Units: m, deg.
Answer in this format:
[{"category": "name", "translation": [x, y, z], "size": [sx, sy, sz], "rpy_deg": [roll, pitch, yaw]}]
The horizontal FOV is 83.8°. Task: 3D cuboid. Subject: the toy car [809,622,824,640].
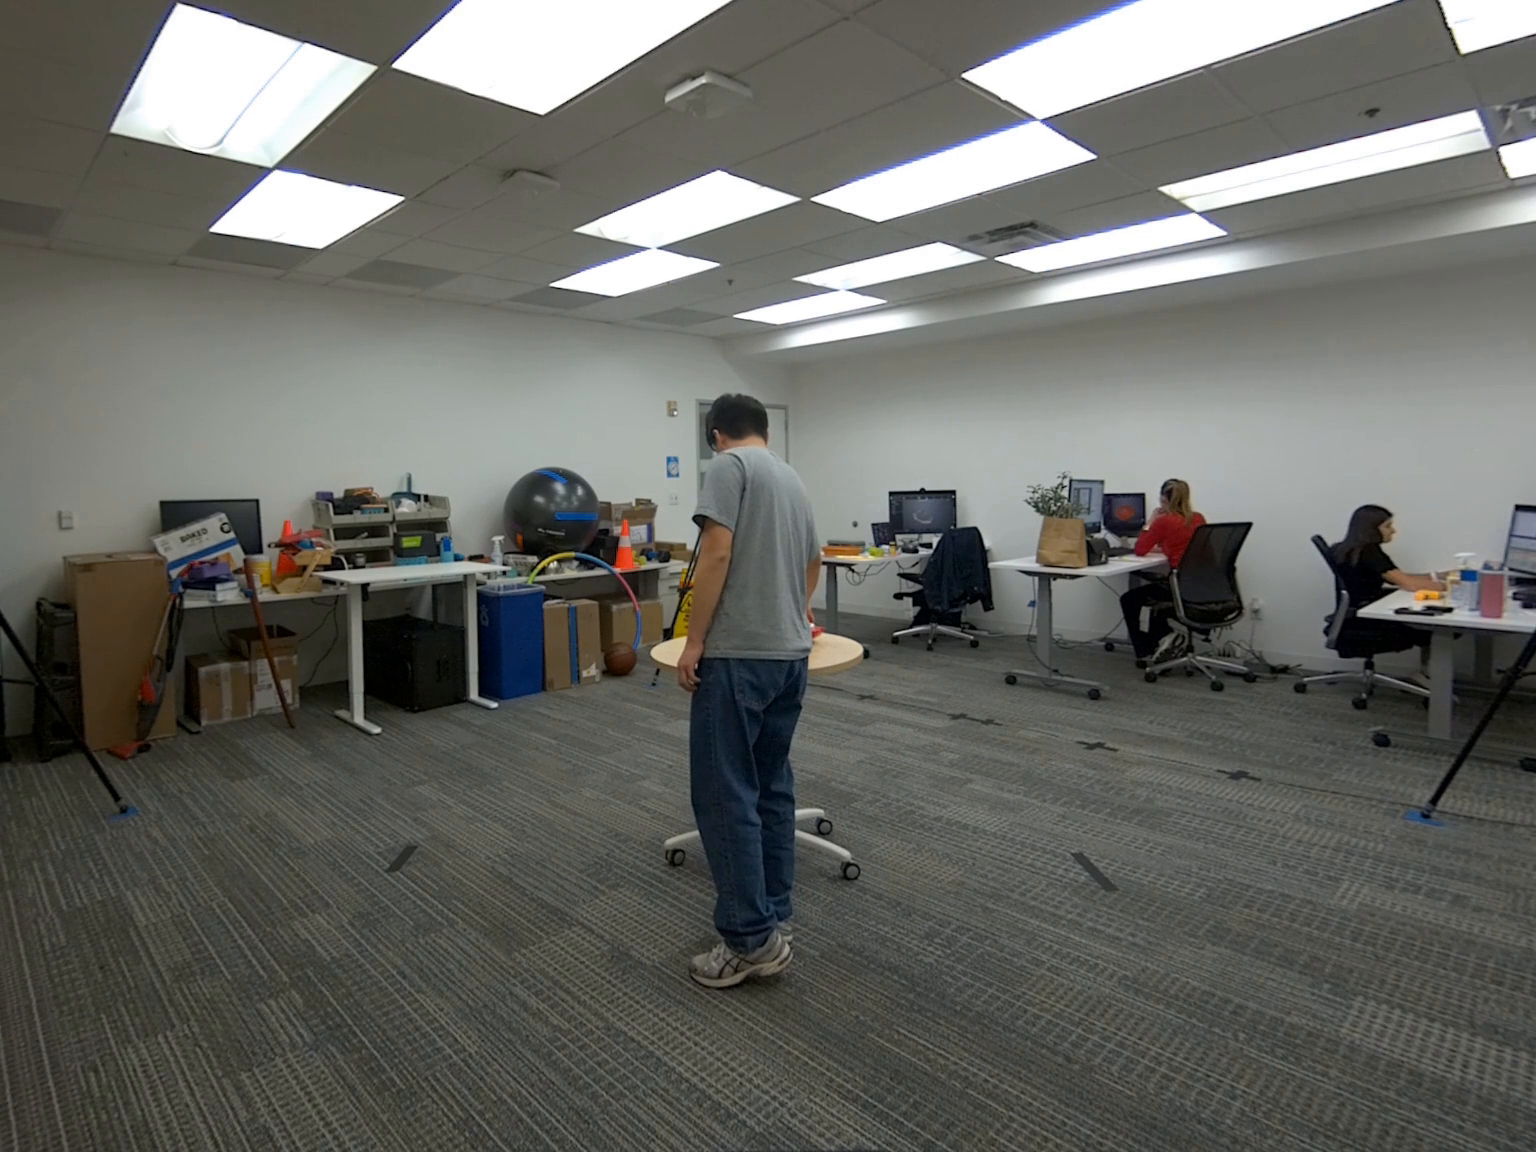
[{"category": "toy car", "translation": [0.098, 0.216, 3.201], "size": [0.259, 0.083, 0.127], "rpy_deg": [-10, 0, 27]}]
